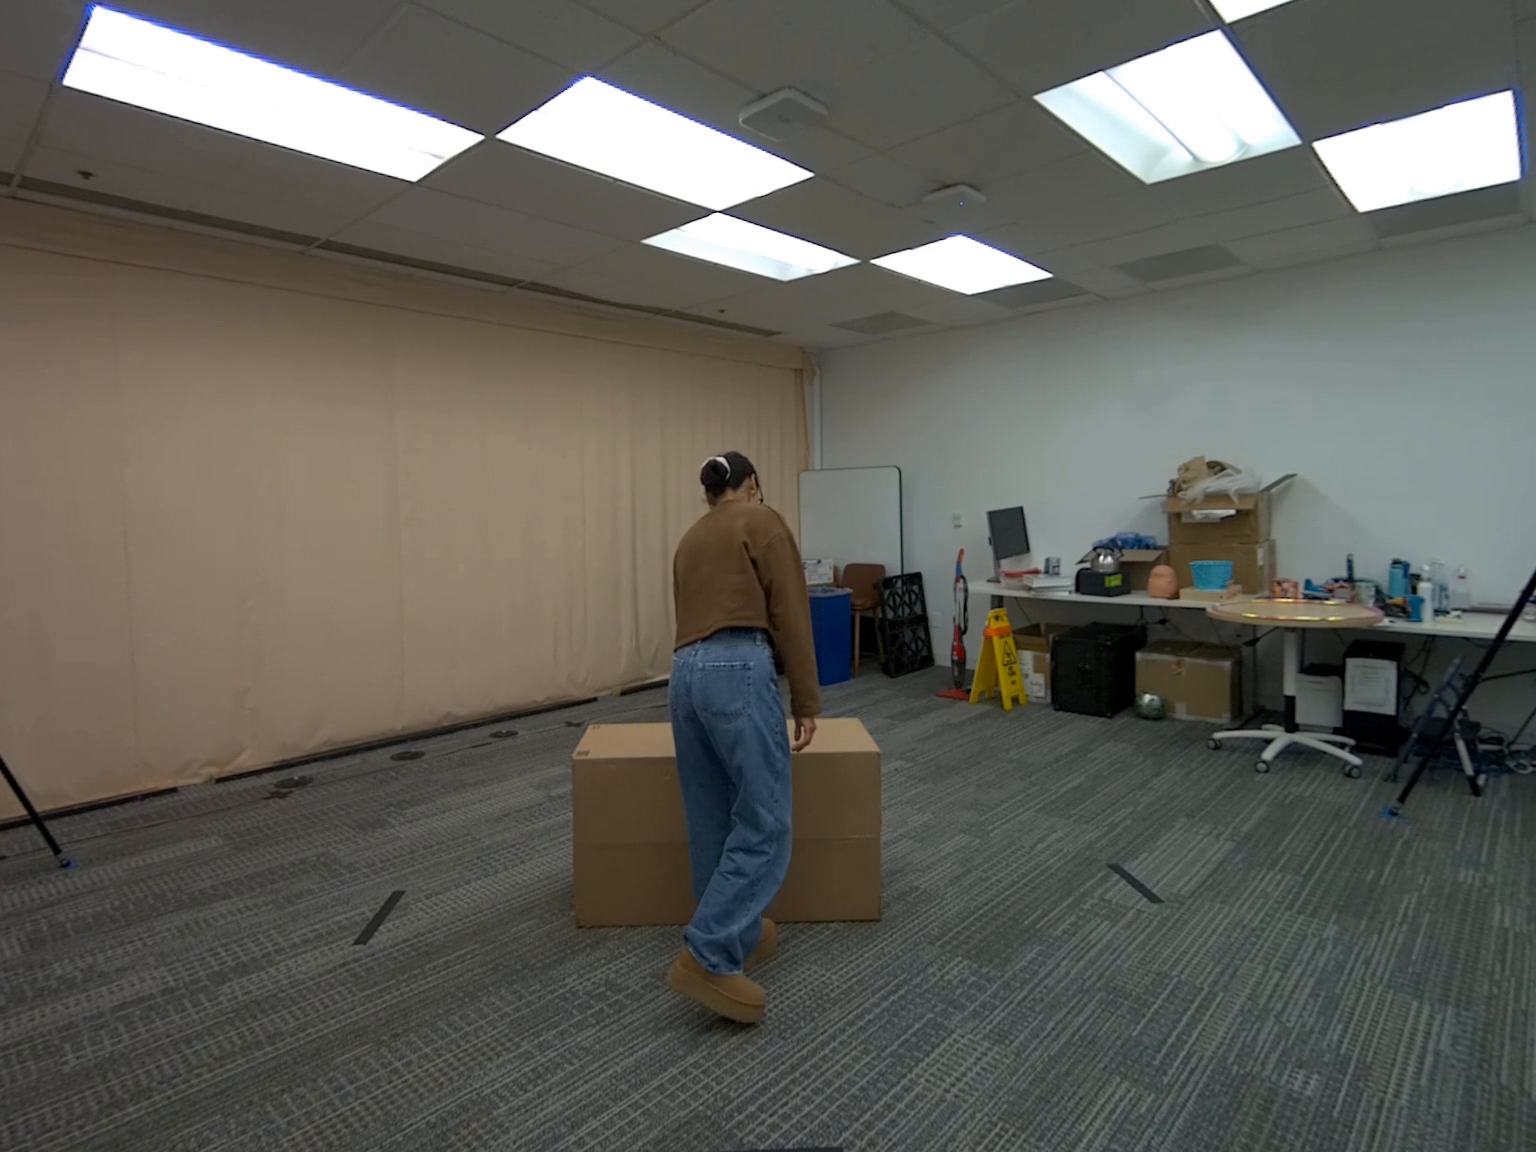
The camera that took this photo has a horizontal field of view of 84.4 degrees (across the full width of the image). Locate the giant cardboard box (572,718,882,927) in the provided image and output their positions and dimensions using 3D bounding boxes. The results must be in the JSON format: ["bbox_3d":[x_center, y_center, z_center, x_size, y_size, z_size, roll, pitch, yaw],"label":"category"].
[{"bbox_3d":[-0.149,0.854,2.998,1.027,0.582,0.448,-1,5,0],"label":"giant cardboard box"}]
